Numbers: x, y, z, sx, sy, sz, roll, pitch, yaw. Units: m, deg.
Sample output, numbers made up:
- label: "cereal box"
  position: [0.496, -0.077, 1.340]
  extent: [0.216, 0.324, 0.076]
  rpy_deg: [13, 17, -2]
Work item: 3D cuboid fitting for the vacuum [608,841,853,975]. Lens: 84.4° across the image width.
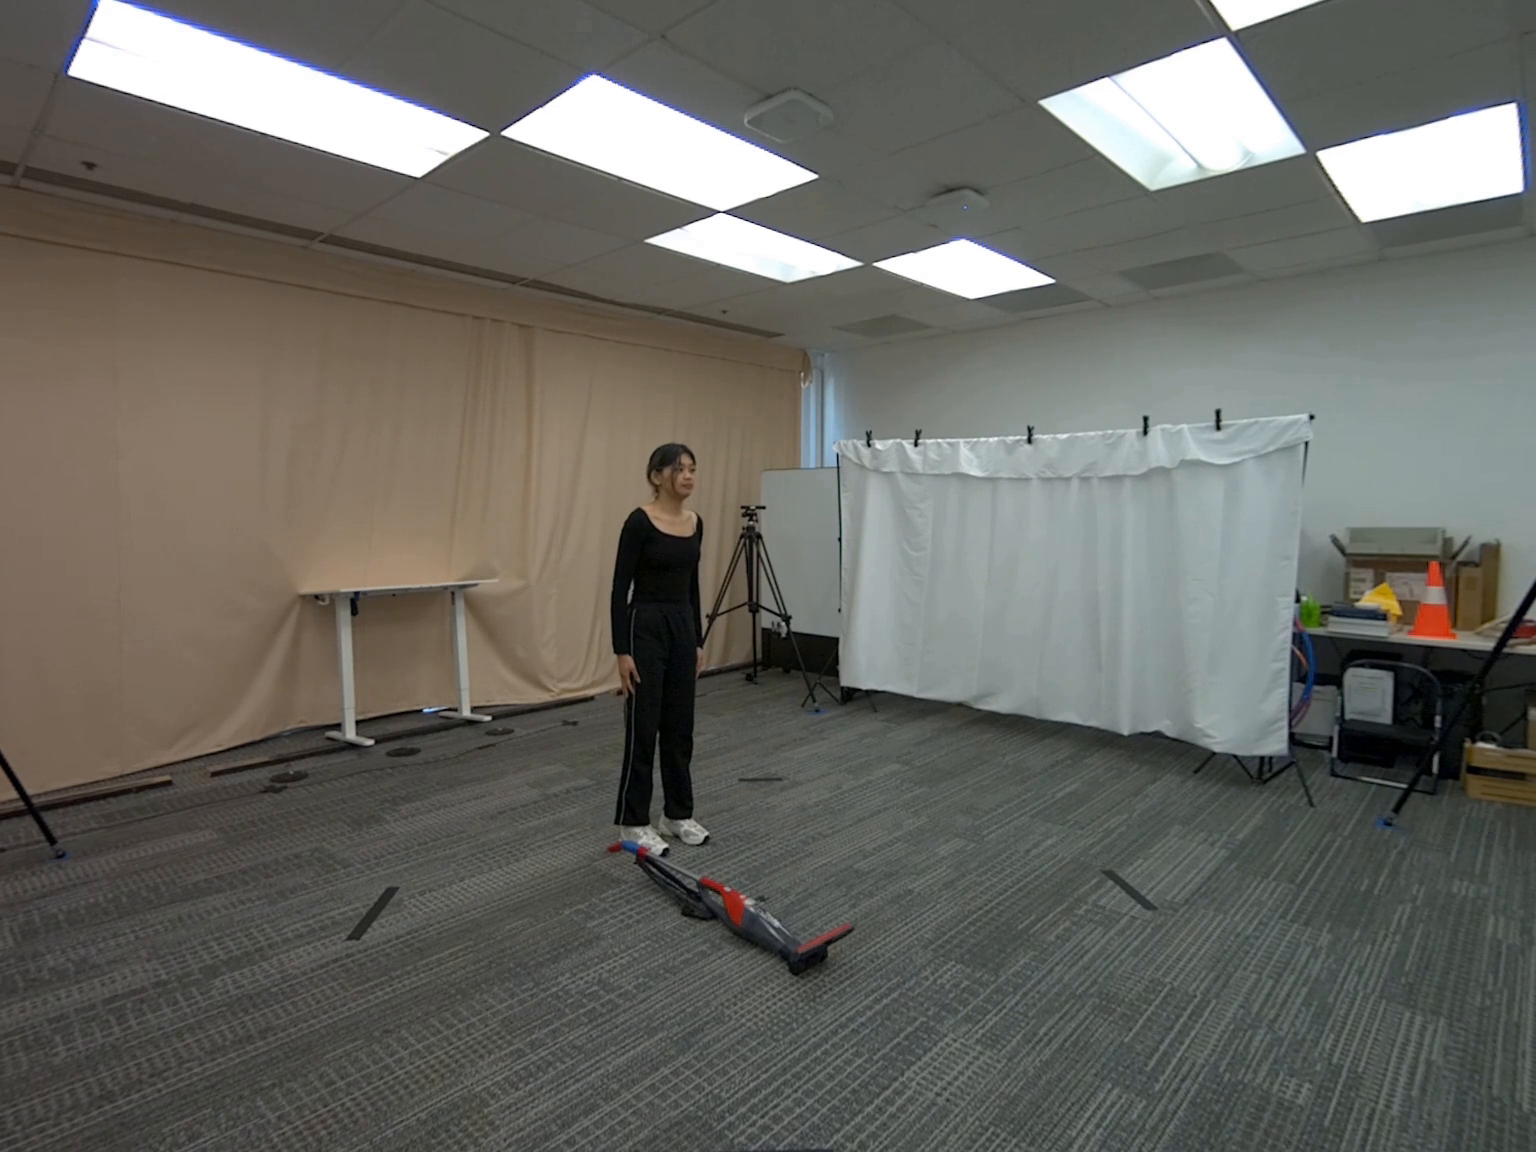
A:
- label: "vacuum"
  position: [-0.219, 1.099, 2.881]
  extent: [0.245, 0.144, 1.084]
  rpy_deg: [-5, 5, -43]
